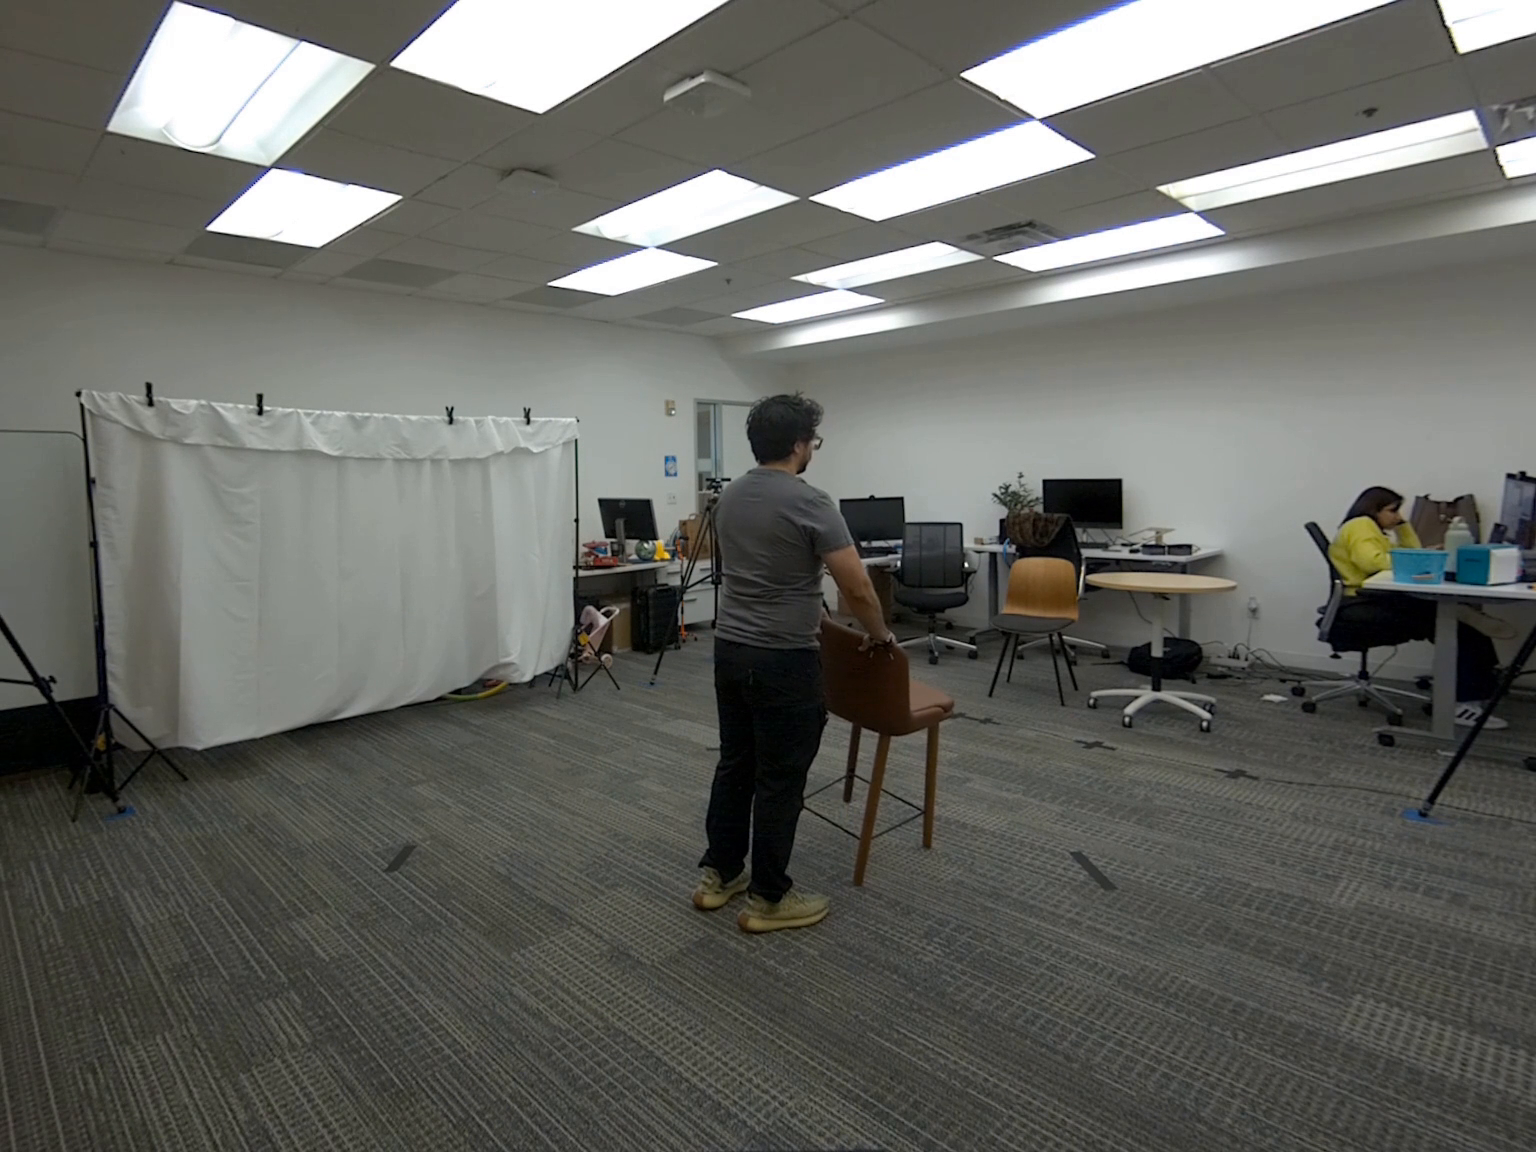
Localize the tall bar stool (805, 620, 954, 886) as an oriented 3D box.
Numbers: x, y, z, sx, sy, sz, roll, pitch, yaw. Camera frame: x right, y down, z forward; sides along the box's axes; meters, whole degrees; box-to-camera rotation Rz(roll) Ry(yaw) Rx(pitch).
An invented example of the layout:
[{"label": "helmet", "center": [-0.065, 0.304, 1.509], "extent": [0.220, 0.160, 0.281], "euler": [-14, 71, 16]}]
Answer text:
[{"label": "tall bar stool", "center": [0.370, 0.569, 3.100], "extent": [0.473, 0.880, 0.456], "euler": [18, 18, 41]}]
